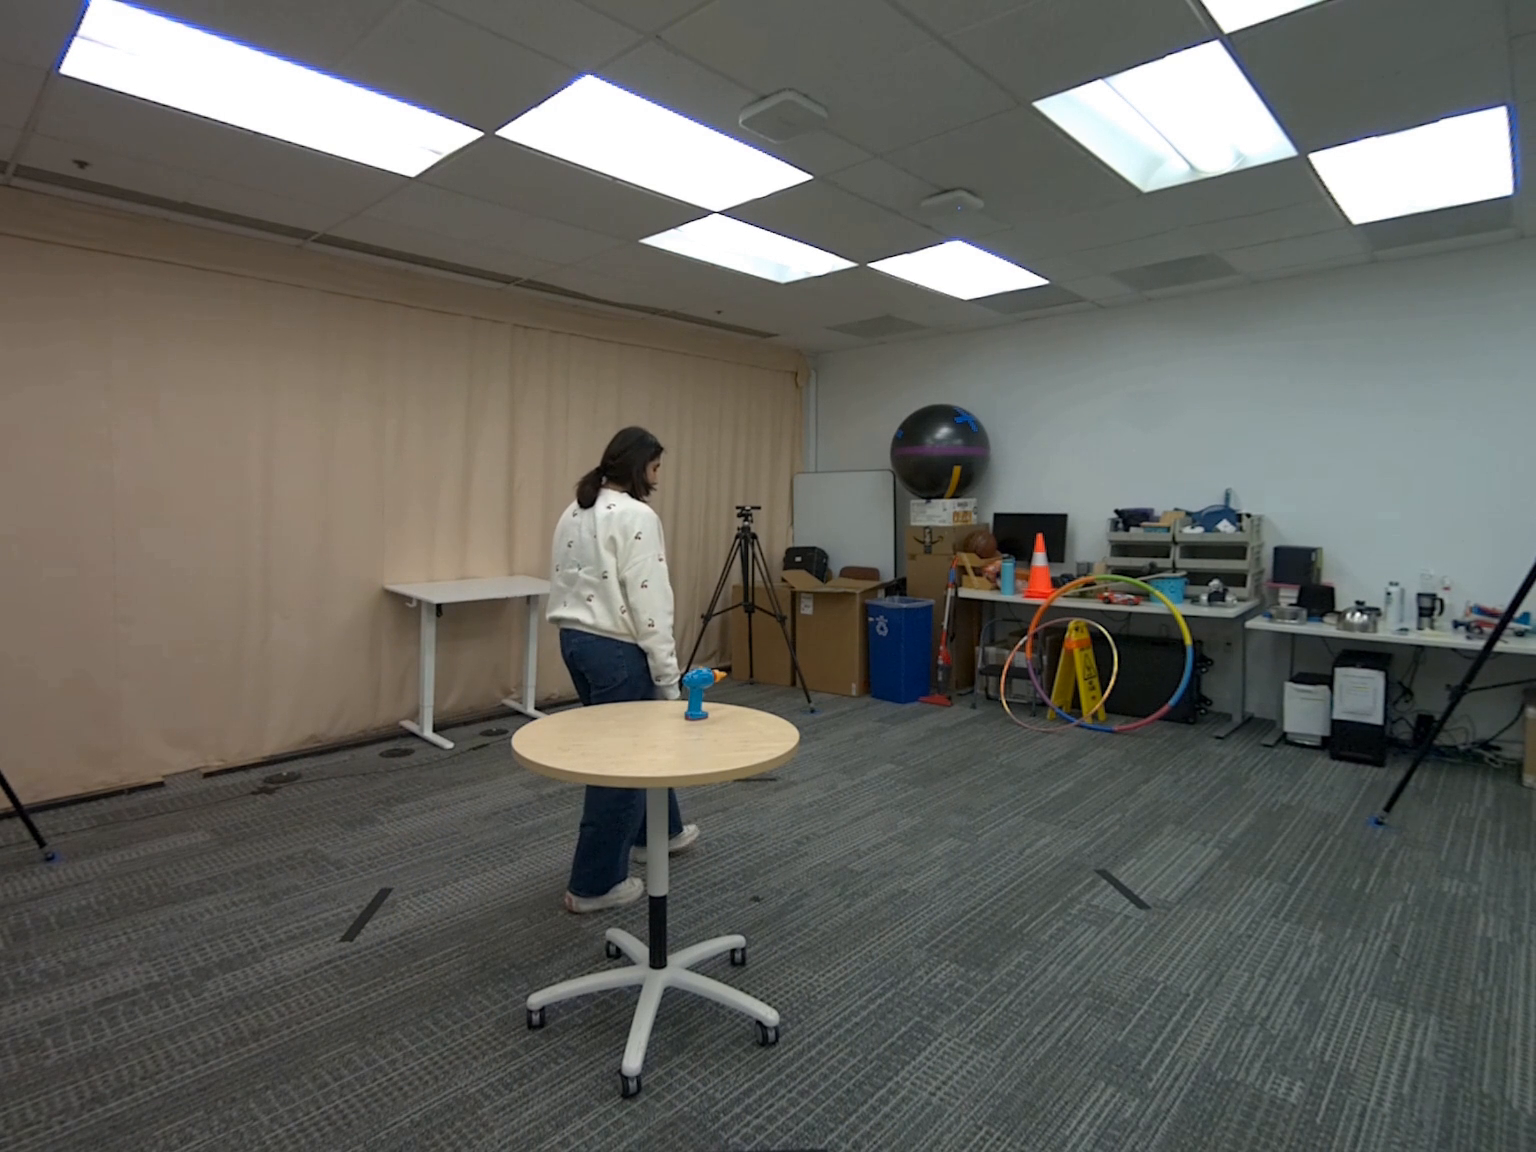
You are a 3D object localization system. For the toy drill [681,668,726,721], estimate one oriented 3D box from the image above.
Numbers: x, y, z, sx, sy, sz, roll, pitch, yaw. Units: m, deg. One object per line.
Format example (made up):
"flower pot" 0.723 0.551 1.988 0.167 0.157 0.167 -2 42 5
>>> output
"toy drill" -0.177 0.337 2.450 0.063 0.146 0.165 3 5 42
